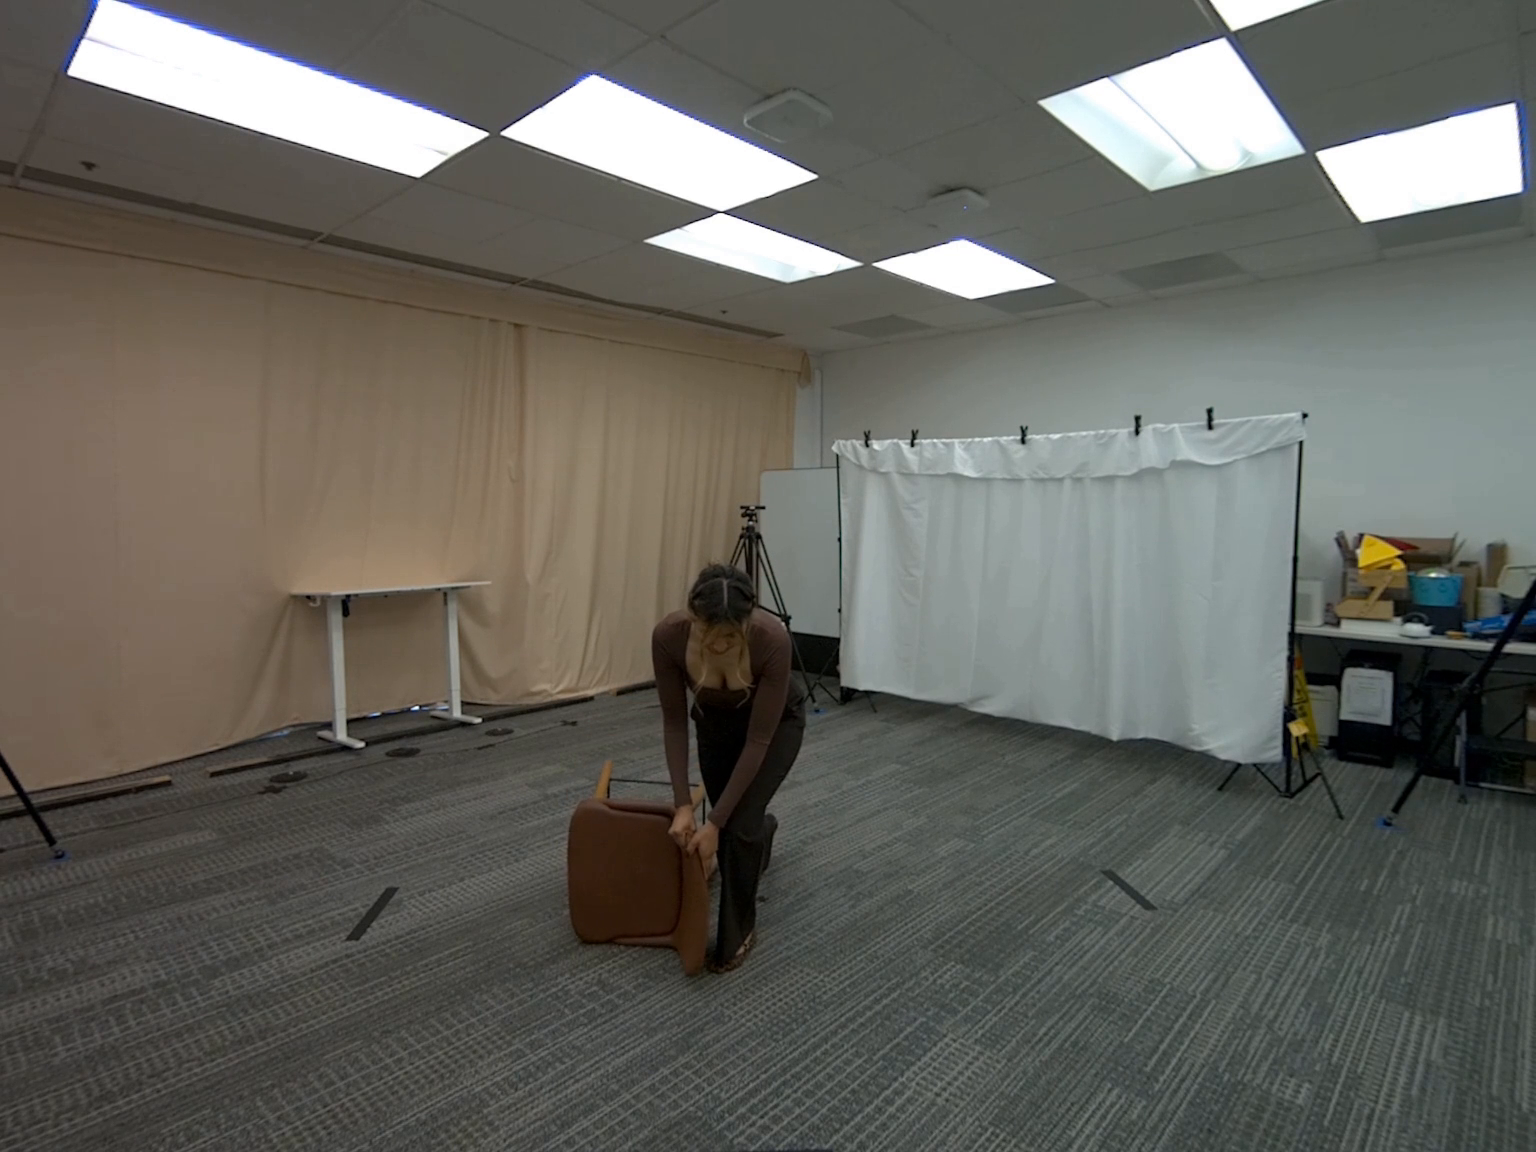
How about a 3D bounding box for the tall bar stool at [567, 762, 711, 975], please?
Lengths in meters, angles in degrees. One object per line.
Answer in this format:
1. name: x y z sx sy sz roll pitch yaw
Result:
1. tall bar stool: -0.411 0.943 2.830 0.468 0.456 0.889 0 2 0
